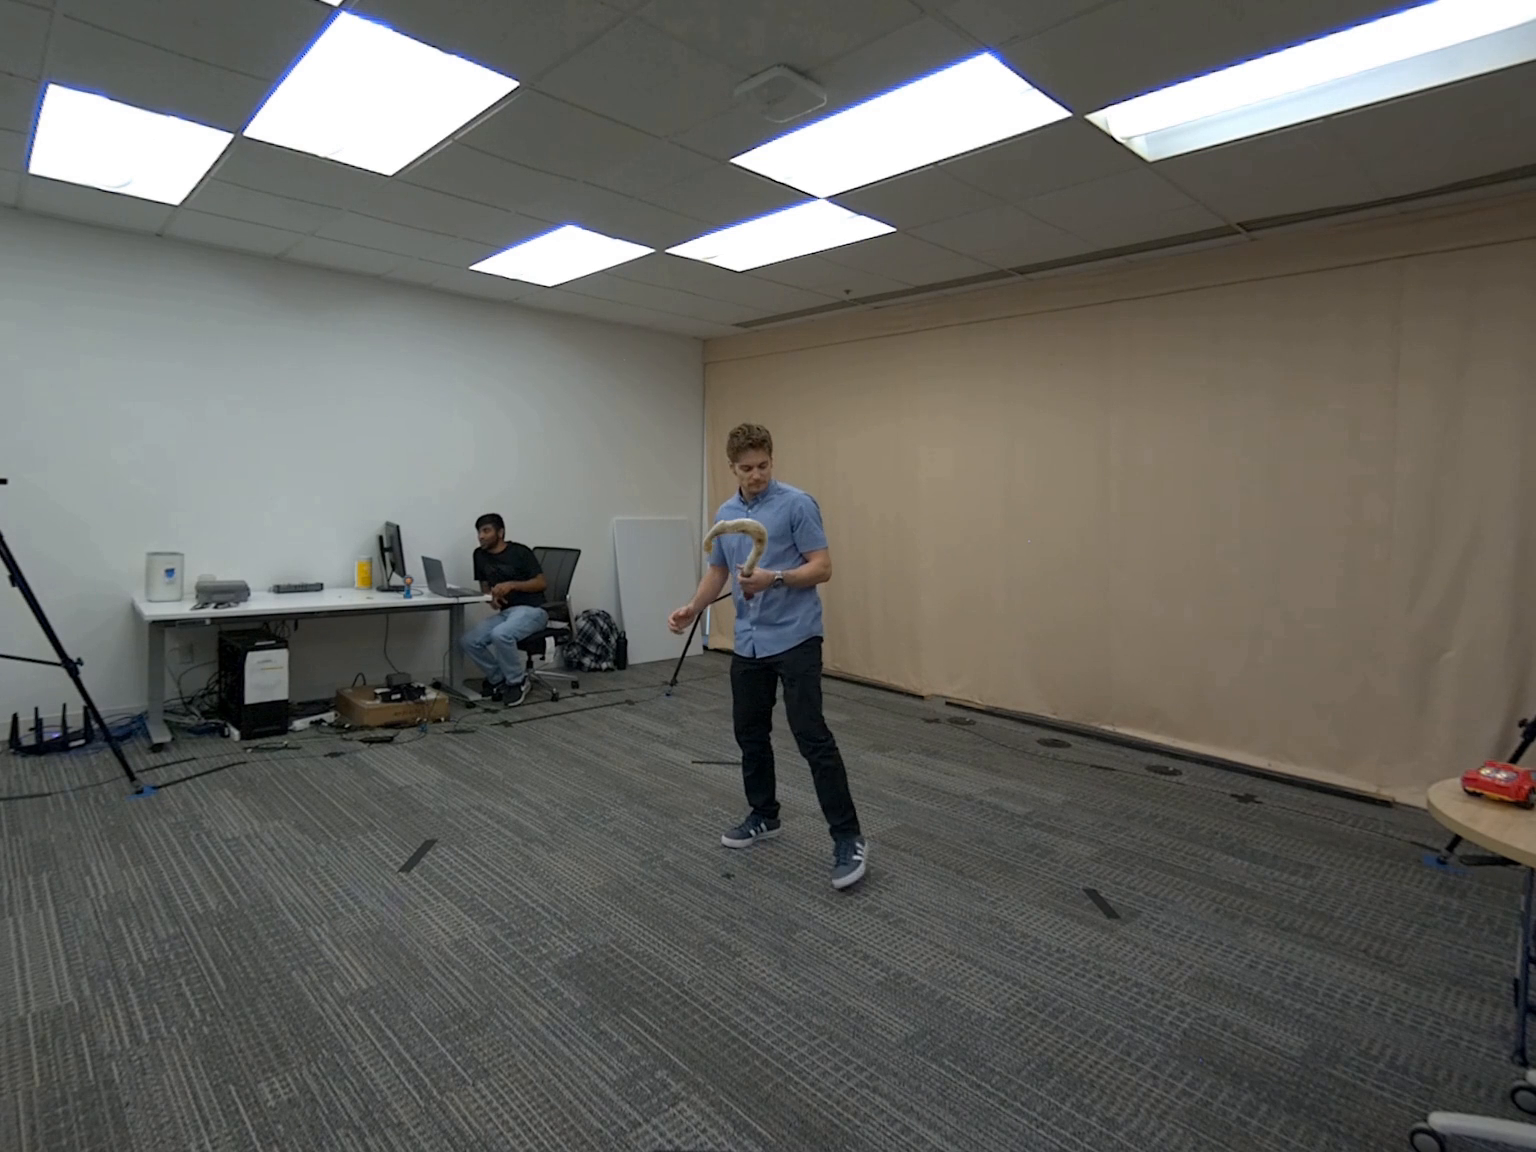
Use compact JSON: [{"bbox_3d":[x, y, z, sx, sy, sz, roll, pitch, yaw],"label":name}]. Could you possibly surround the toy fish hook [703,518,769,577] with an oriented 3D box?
[{"bbox_3d":[-0.138,-0.049,2.984,0.225,0.049,0.495,-2,-36,0],"label":"toy fish hook"}]
